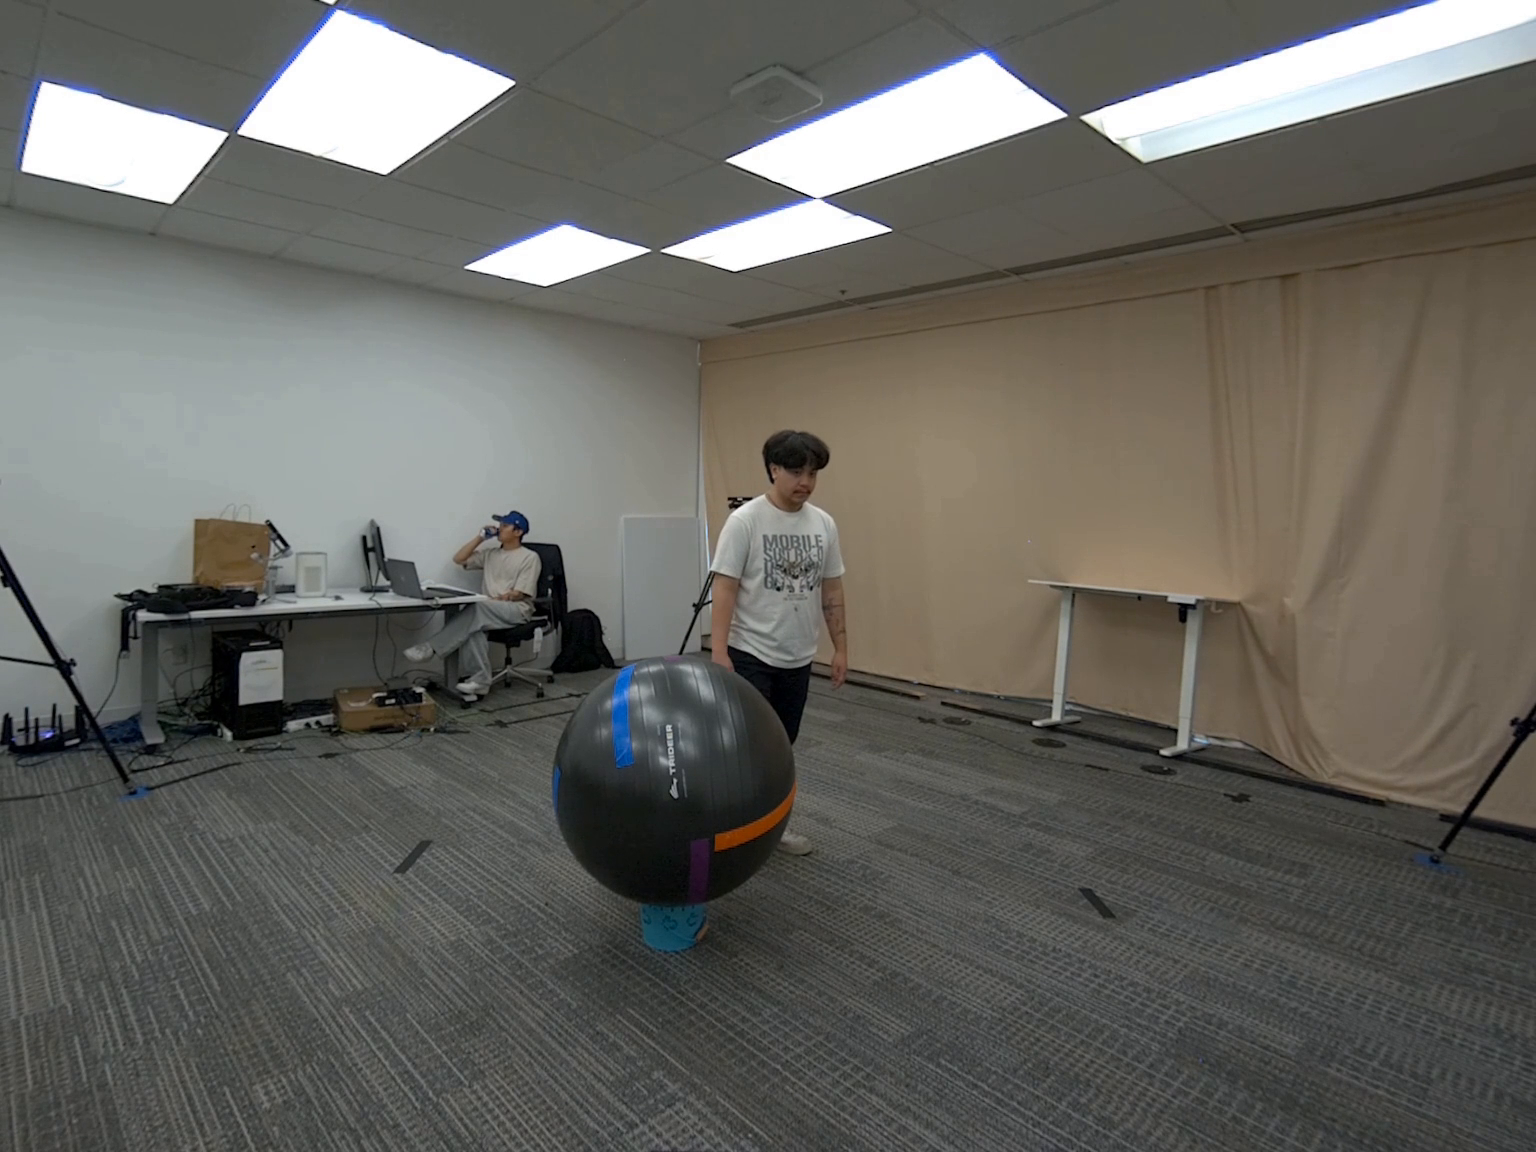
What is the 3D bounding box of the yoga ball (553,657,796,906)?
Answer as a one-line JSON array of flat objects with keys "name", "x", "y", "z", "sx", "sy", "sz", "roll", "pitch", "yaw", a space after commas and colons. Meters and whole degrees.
[{"name": "yoga ball", "x": -0.295, "y": 0.636, "z": 2.650, "sx": 0.757, "sy": 0.756, "sz": 0.760, "roll": 1, "pitch": 4, "yaw": -1}]
